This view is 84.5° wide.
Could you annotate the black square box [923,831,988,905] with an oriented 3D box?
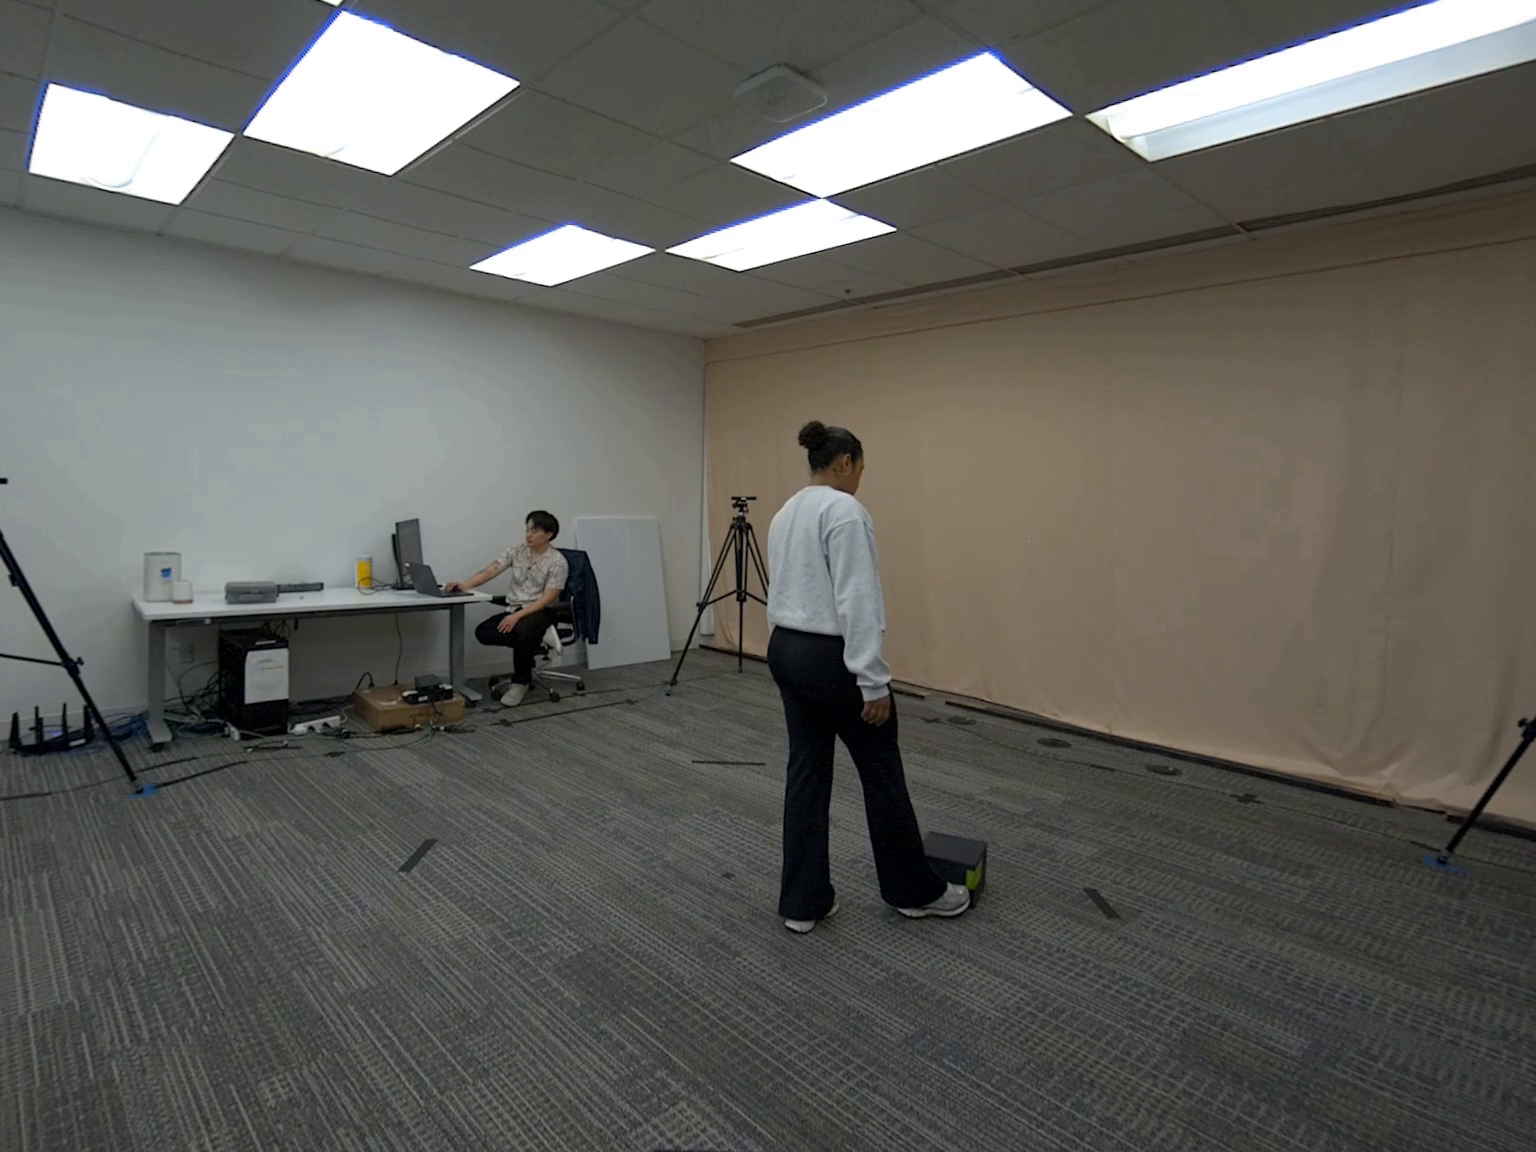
[{"bbox_3d":[0.644,1.050,3.020,0.221,0.155,0.224,3,4,26],"label":"black square box"}]
